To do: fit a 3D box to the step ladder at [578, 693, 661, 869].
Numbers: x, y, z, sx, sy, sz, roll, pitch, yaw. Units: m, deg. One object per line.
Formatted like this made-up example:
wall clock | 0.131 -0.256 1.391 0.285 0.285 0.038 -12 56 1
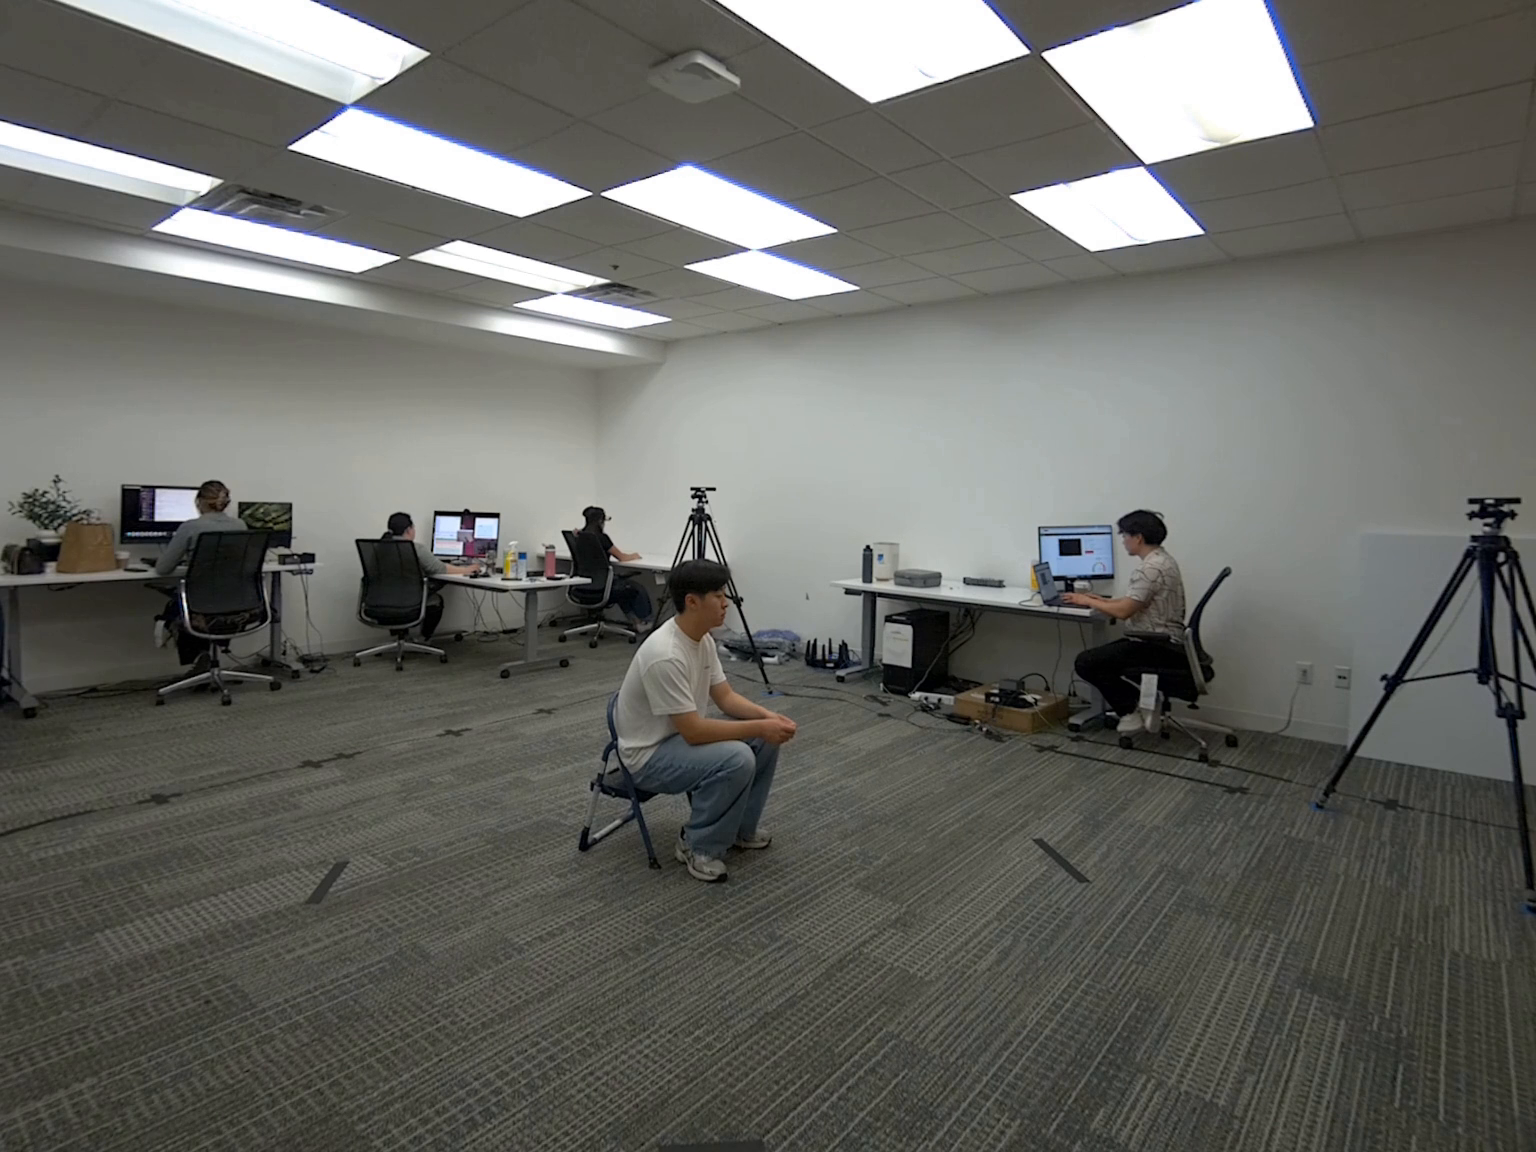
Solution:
step ladder | -0.501 0.739 3.348 0.357 0.605 0.421 2 3 22
